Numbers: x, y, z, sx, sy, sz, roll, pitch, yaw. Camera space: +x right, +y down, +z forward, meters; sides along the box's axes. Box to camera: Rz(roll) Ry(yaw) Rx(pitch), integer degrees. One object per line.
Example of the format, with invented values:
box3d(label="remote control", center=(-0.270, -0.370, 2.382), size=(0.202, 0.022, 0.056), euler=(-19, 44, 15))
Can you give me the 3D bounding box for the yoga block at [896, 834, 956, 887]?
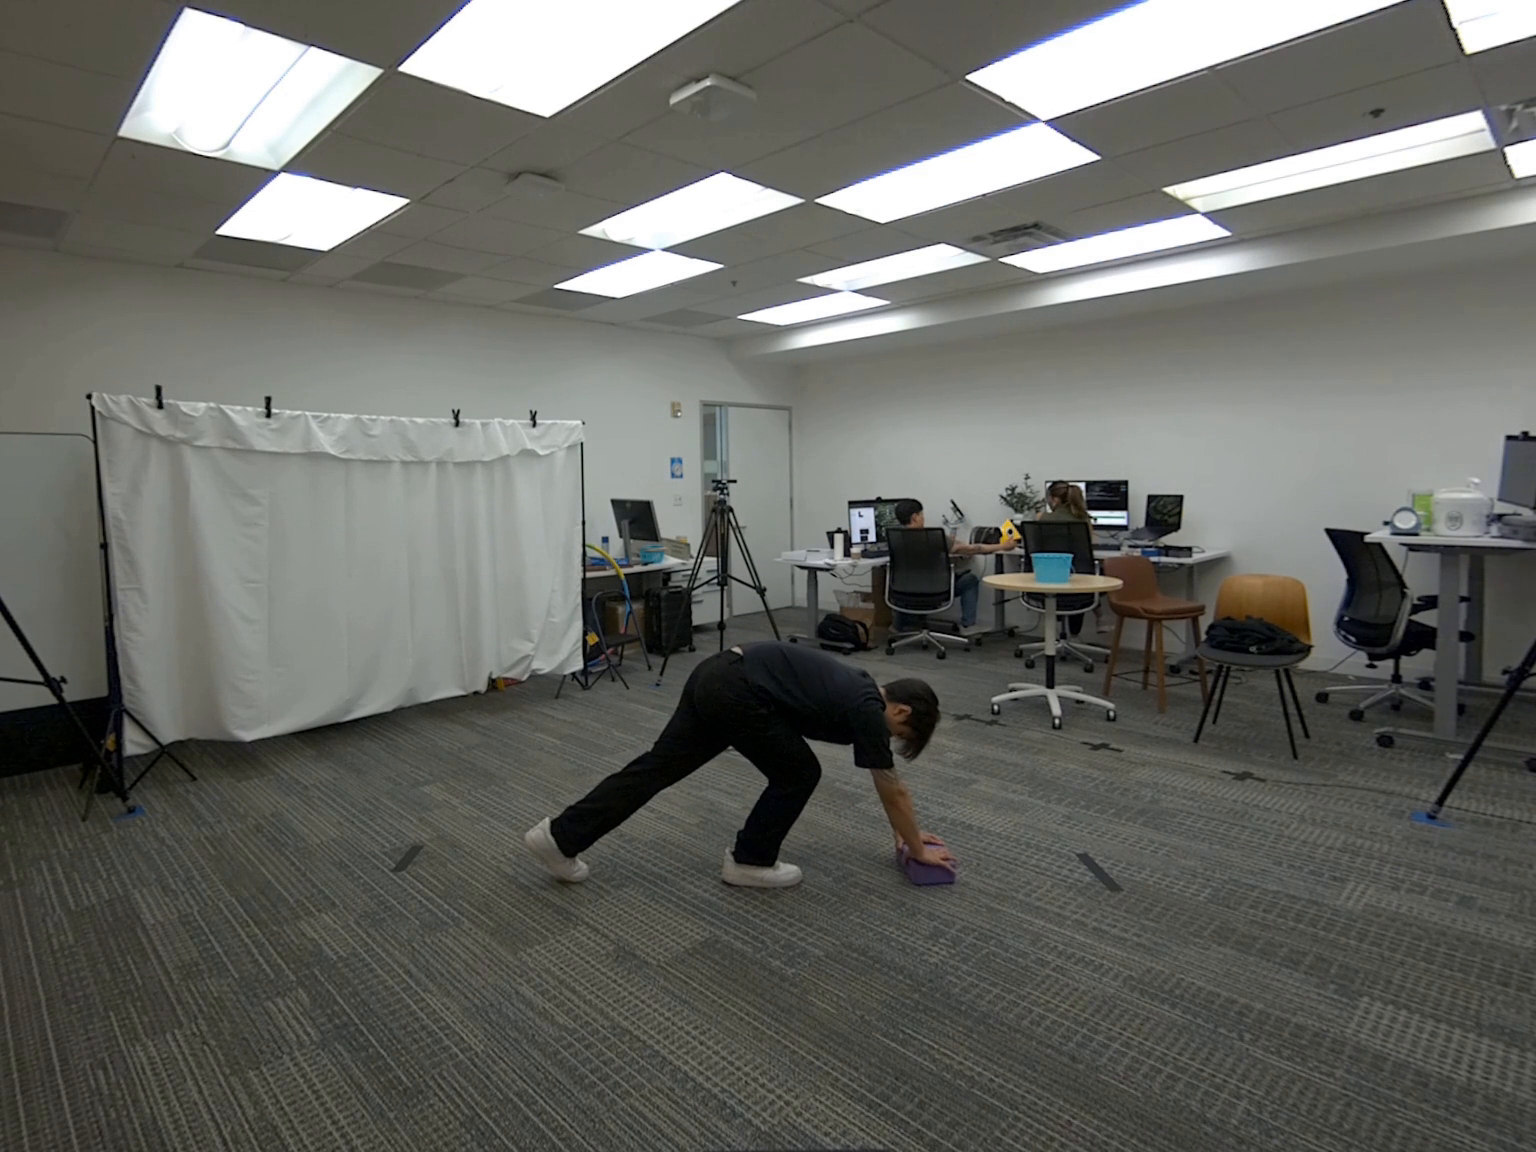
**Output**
box3d(label="yoga block", center=(0.556, 1.003, 3.029), size=(0.148, 0.076, 0.231), euler=(0, 4, -6))
